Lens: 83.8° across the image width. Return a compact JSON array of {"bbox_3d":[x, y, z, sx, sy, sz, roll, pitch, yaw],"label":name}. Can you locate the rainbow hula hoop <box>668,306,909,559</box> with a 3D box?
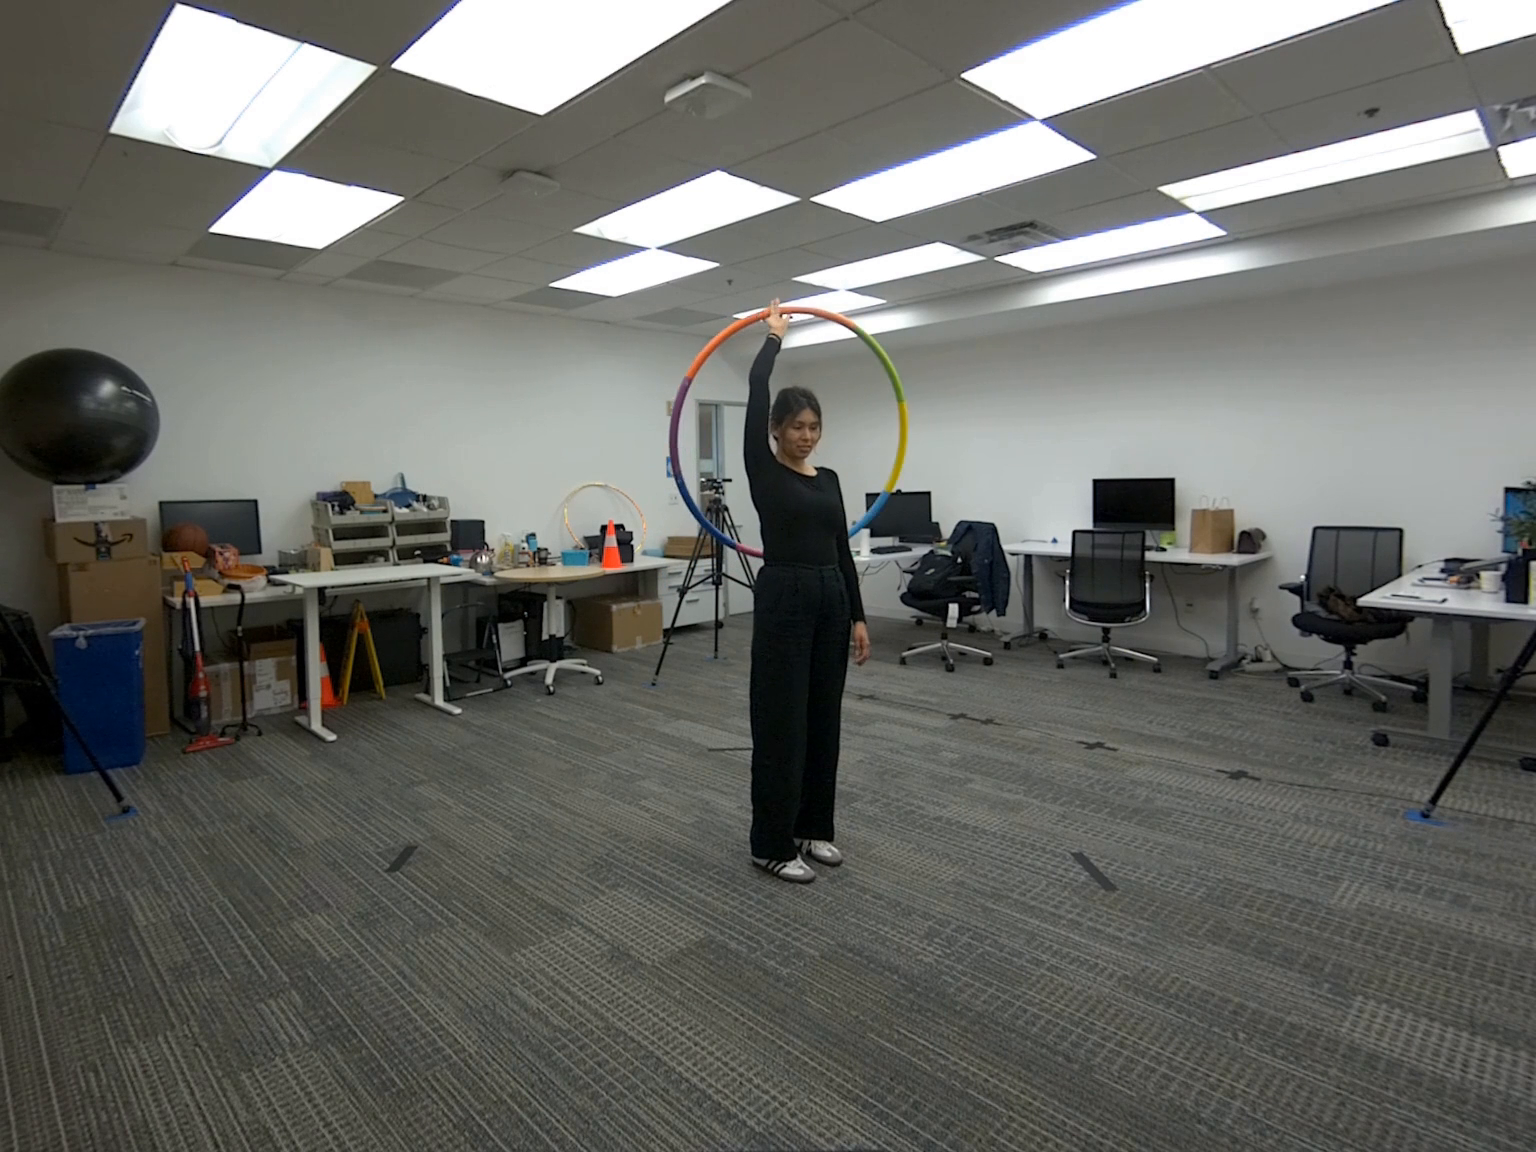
[{"bbox_3d":[0.095,-0.535,3.304,0.970,0.974,0.053,-2,14,-17],"label":"rainbow hula hoop"}]
